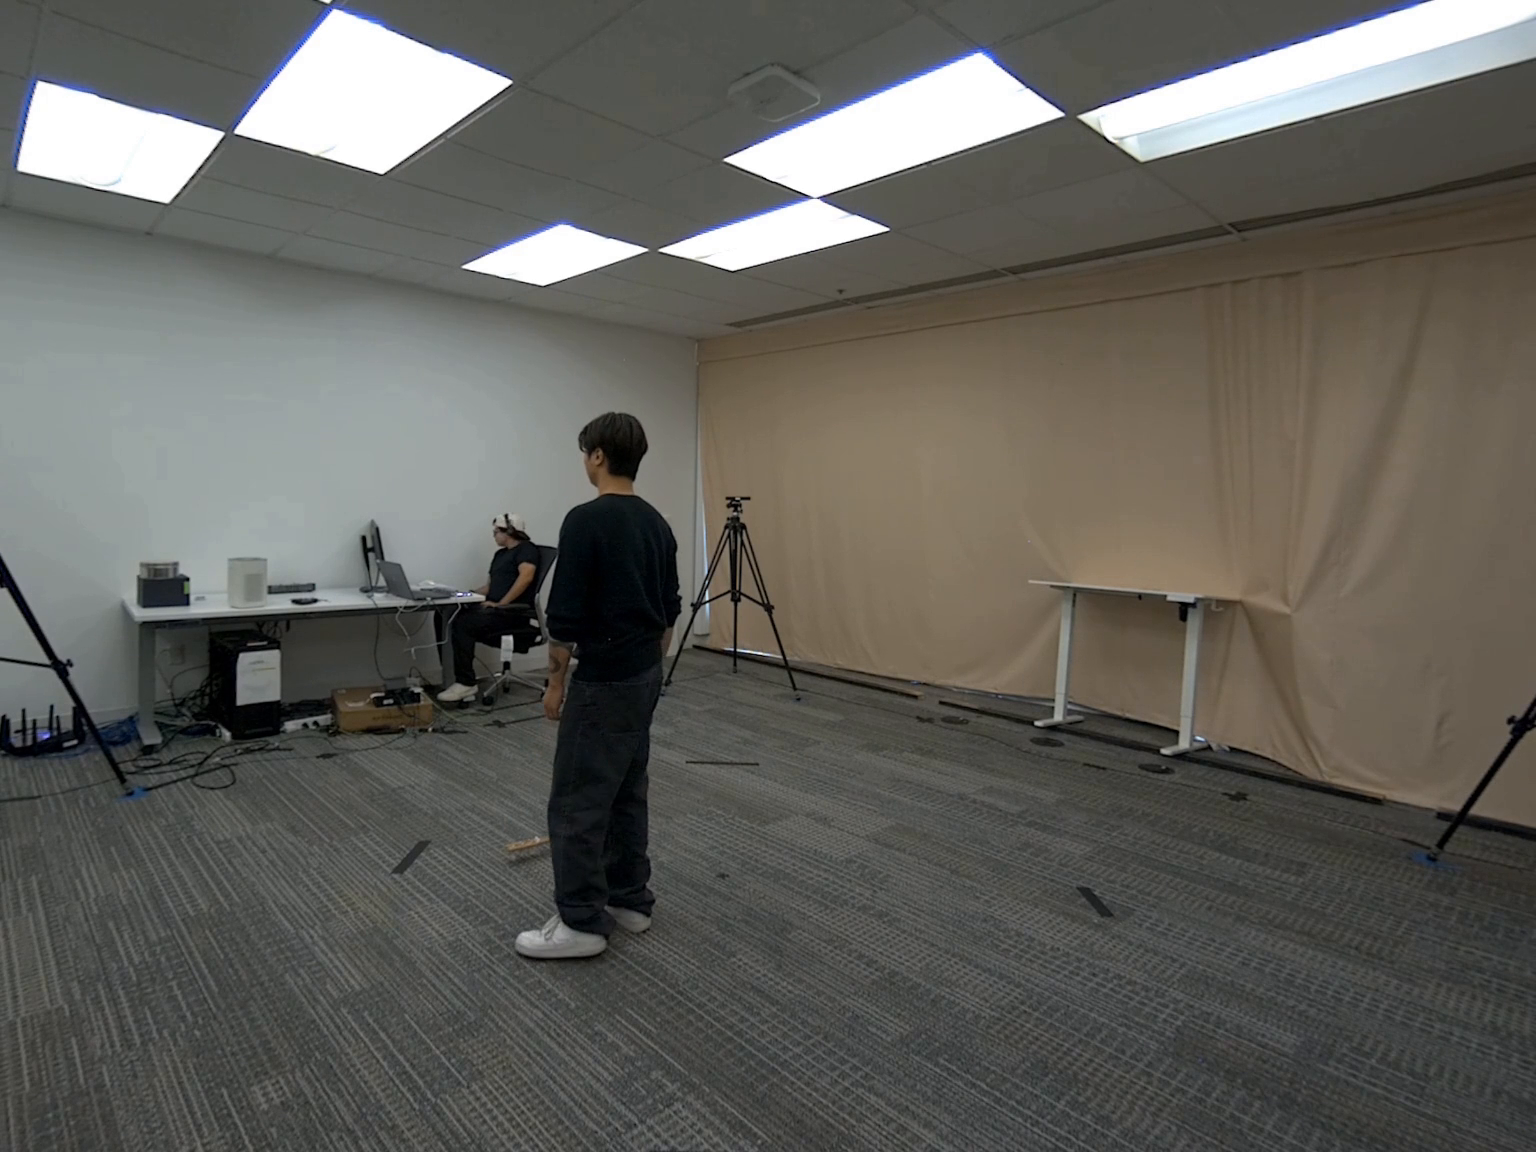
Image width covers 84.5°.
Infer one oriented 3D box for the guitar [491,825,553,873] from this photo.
[{"bbox_3d":[-0.814,1.045,3.329,0.488,0.070,0.197,-1,6,-29],"label":"guitar"}]
